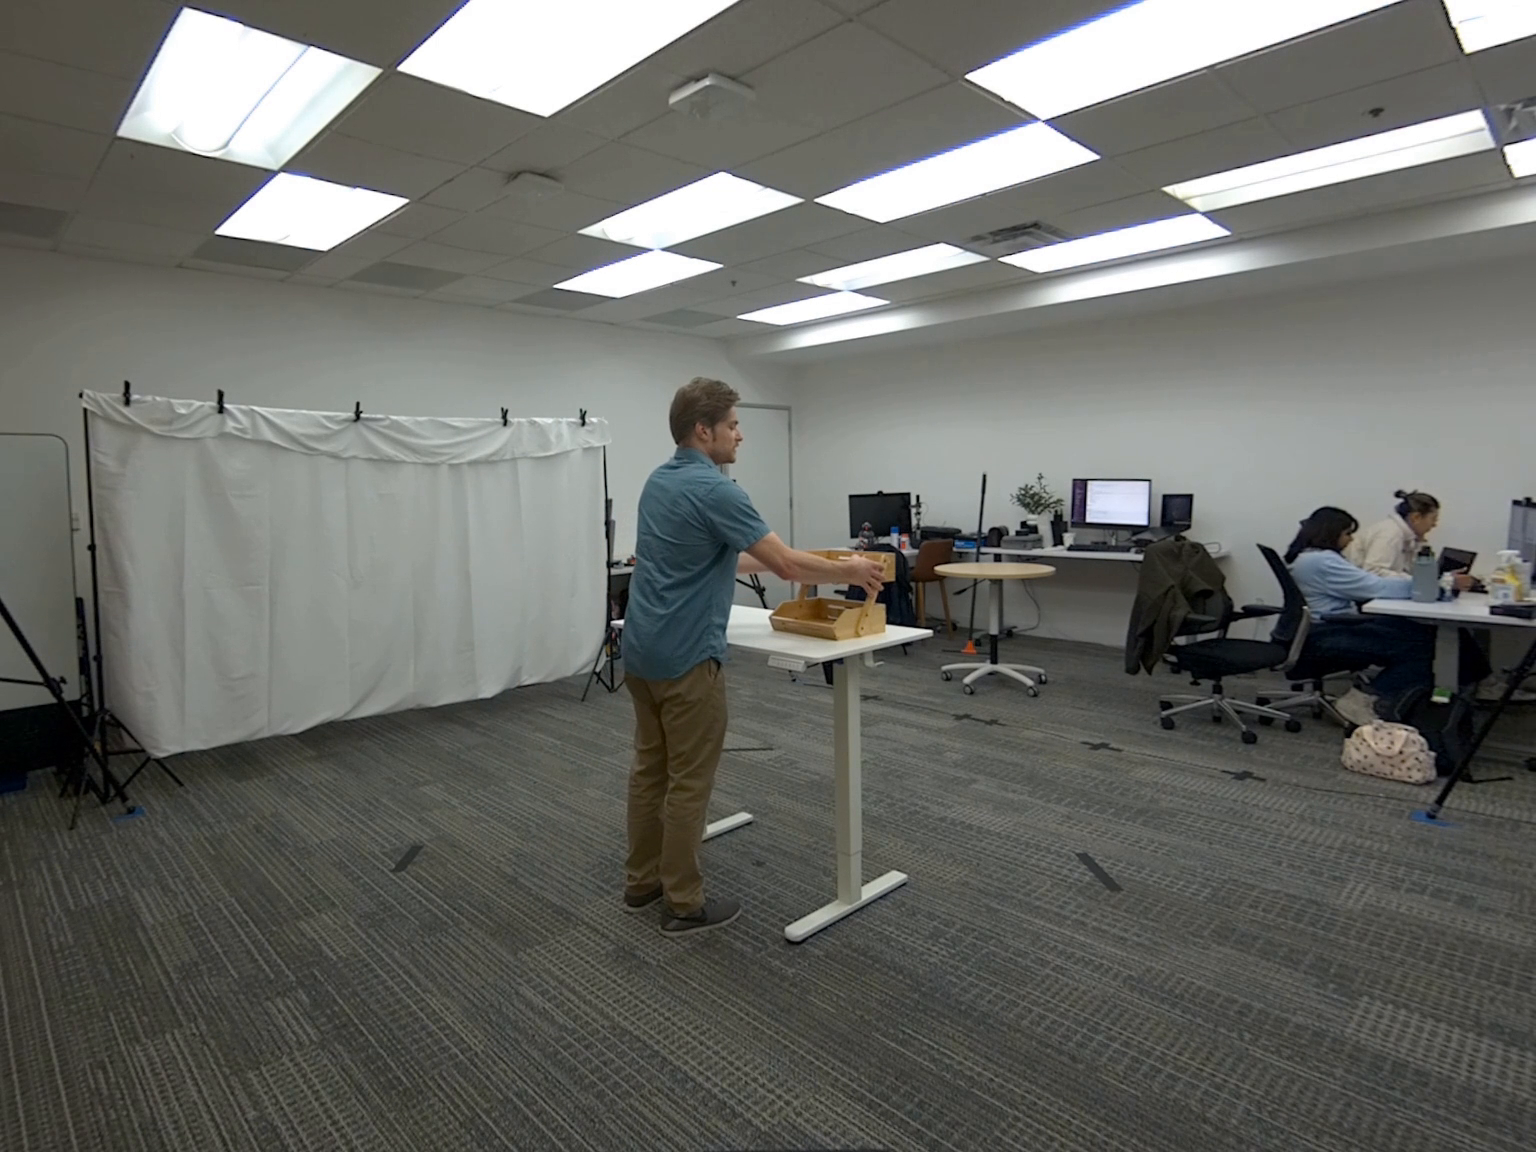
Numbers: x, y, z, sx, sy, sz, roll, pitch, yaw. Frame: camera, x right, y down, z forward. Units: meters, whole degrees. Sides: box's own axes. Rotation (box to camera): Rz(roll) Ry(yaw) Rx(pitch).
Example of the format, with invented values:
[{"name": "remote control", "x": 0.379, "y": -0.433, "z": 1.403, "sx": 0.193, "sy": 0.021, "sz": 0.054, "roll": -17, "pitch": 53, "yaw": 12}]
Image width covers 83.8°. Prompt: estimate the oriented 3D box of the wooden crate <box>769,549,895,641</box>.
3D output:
[{"name": "wooden crate", "x": 0.213, "y": 0.052, "z": 2.876, "sx": 0.294, "sy": 0.272, "sz": 0.334, "roll": -4, "pitch": 5, "yaw": -41}]
